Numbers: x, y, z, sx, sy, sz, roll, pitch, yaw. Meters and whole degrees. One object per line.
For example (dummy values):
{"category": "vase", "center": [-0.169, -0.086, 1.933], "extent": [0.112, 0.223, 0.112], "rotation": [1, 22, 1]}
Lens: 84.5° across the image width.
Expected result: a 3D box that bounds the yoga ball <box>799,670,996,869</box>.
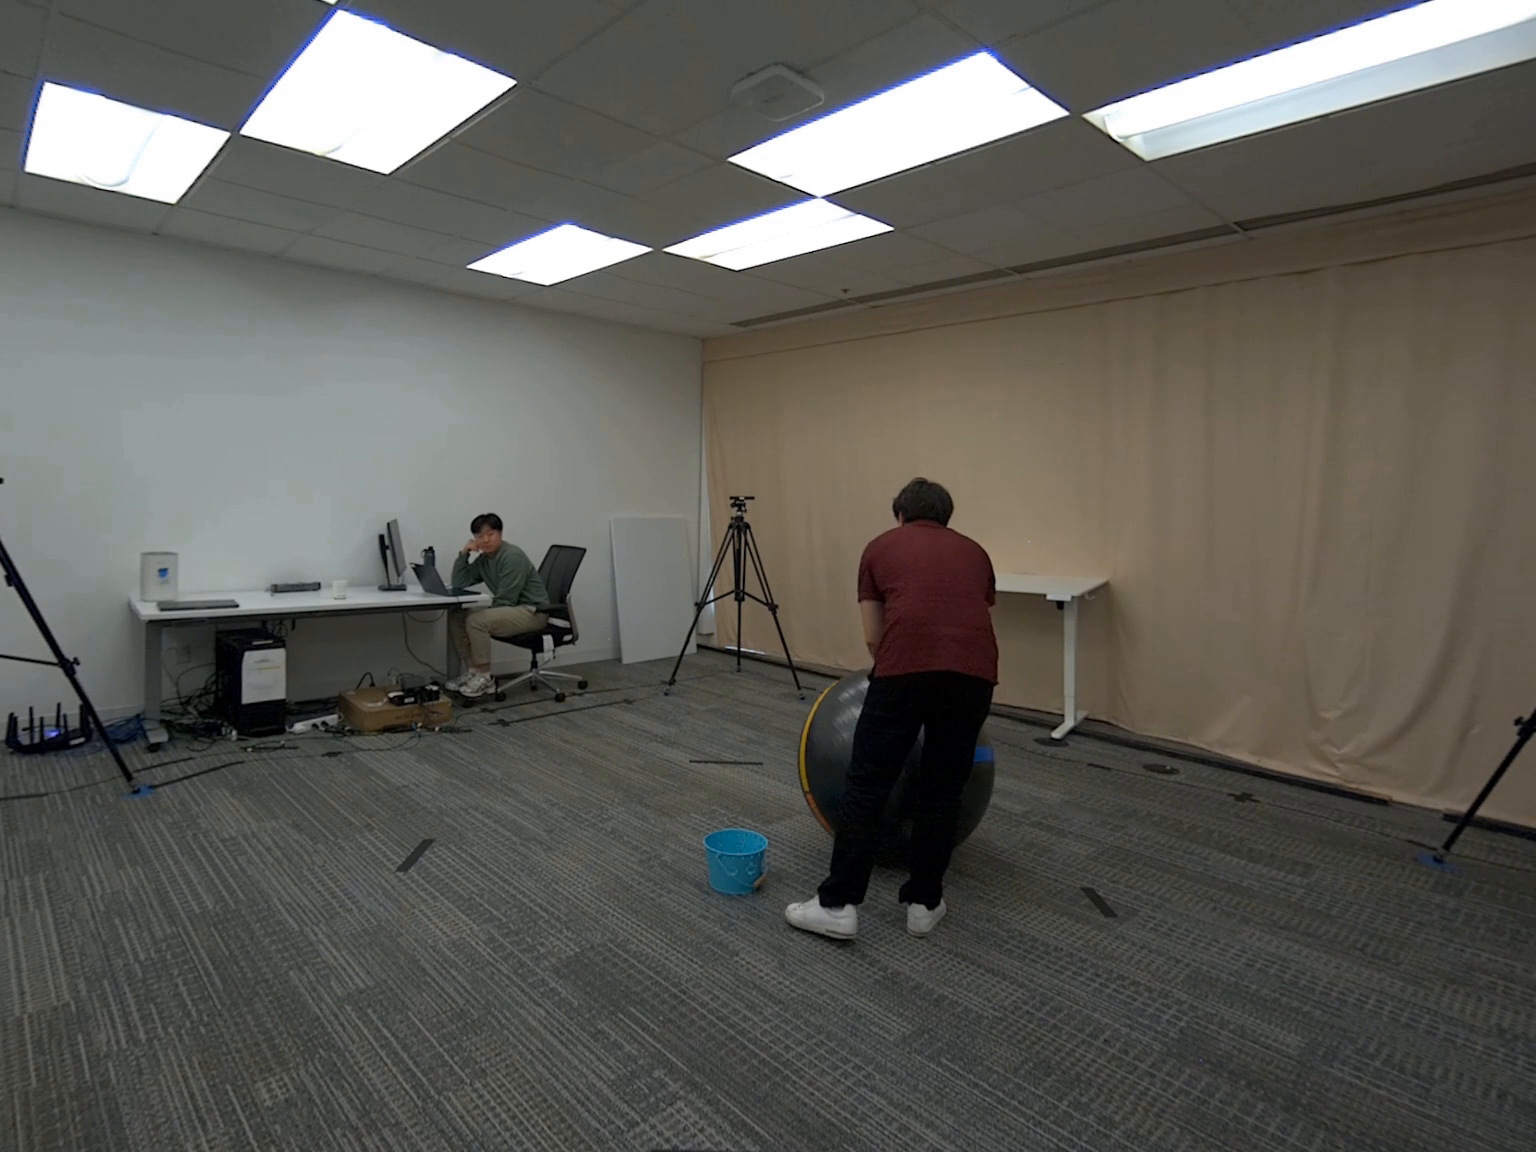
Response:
{"category": "yoga ball", "center": [0.489, 0.736, 3.322], "extent": [0.757, 0.756, 0.761], "rotation": [1, 4, -1]}
